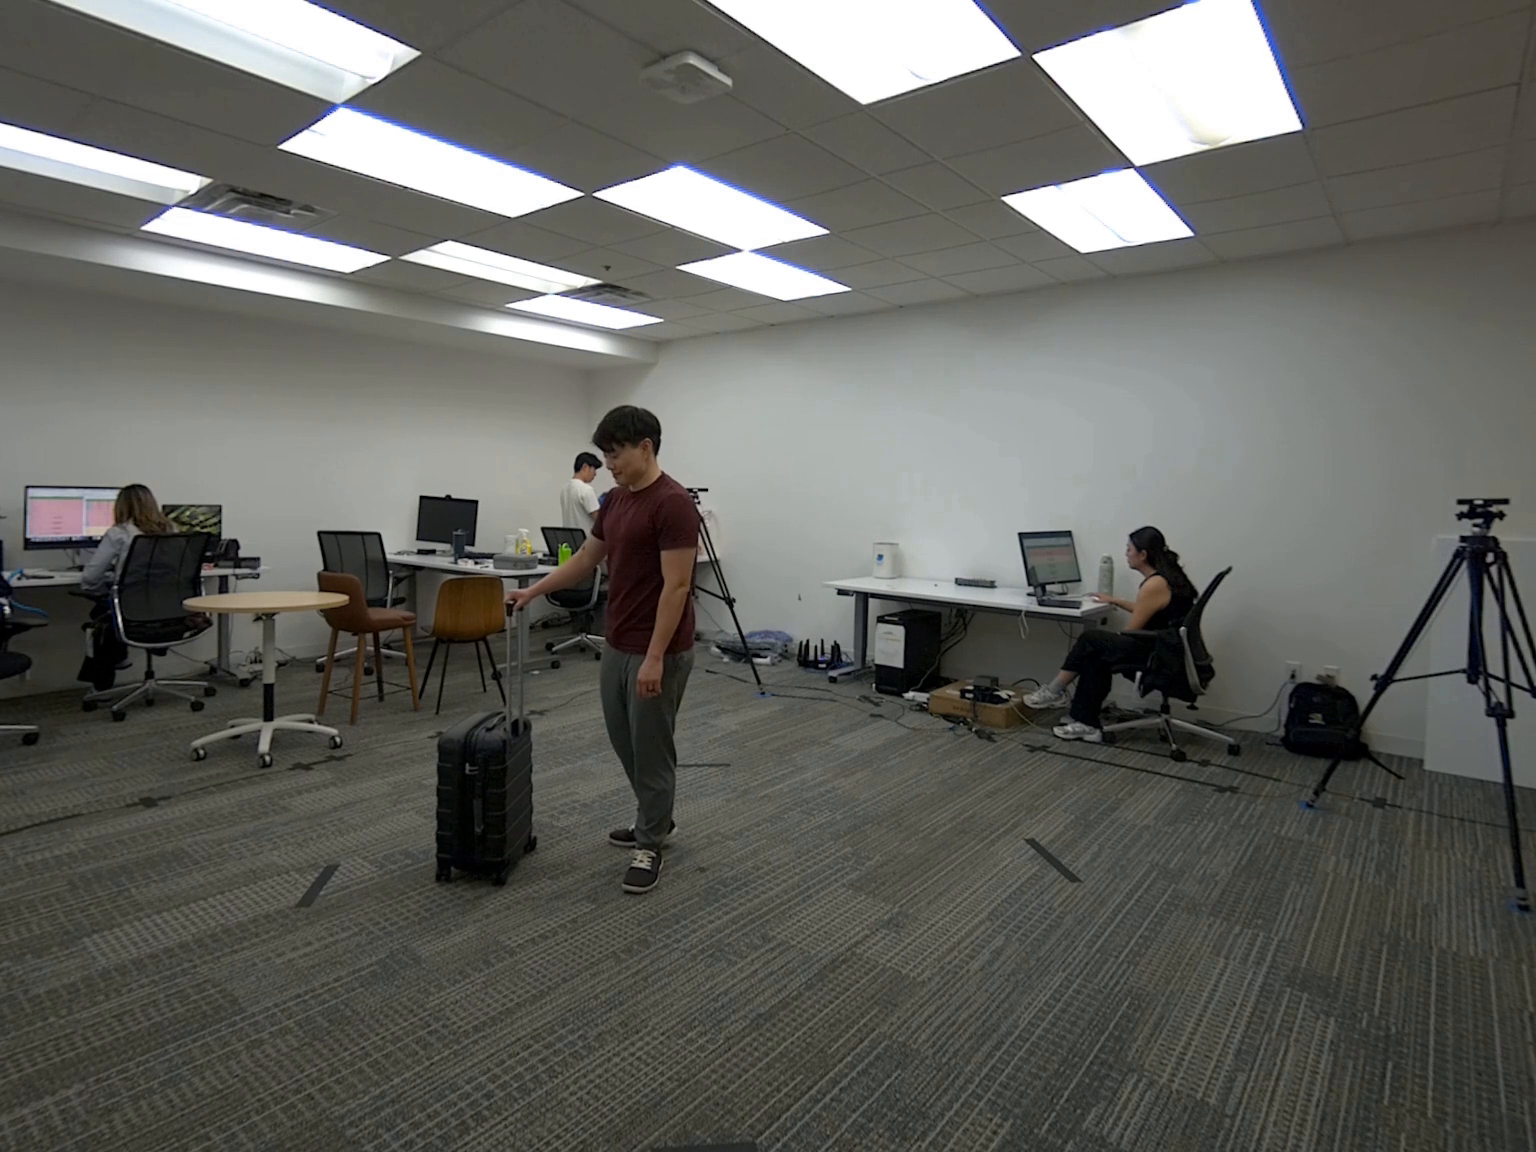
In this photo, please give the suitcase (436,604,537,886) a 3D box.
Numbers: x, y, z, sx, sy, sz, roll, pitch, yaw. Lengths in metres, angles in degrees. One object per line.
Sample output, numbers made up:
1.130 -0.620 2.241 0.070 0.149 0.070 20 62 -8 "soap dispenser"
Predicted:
-1.032 0.582 3.083 0.258 0.975 0.383 0 3 3 "suitcase"
